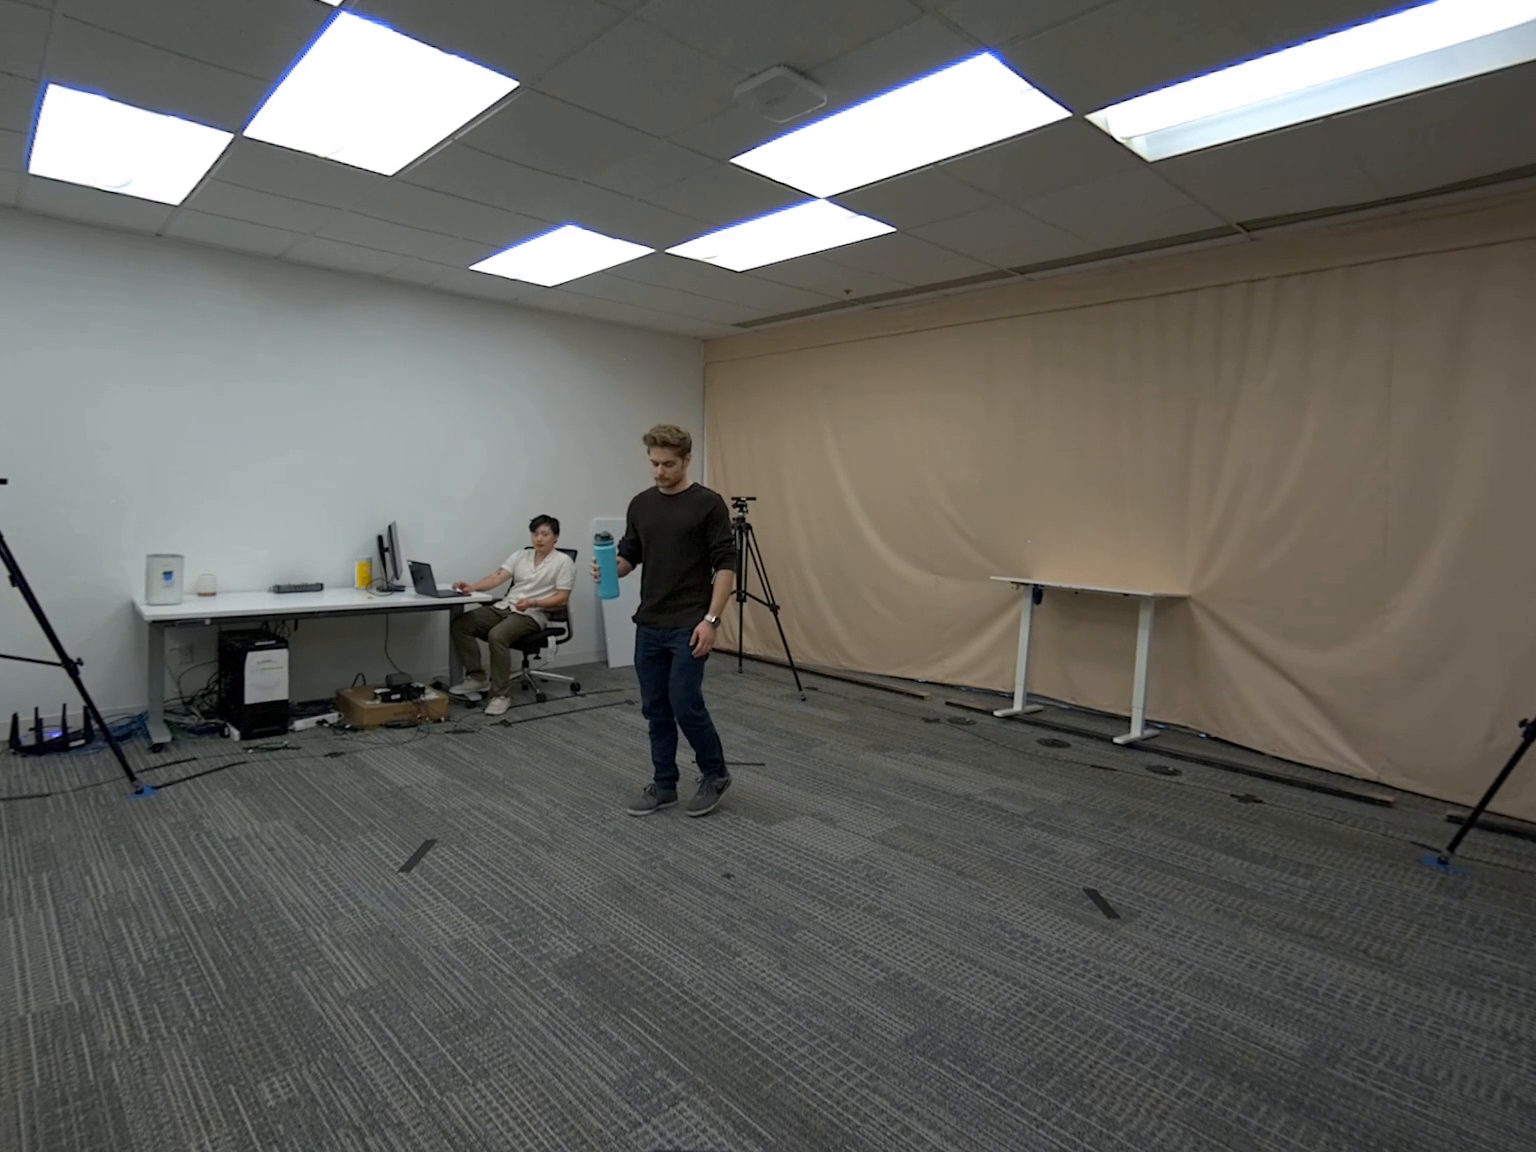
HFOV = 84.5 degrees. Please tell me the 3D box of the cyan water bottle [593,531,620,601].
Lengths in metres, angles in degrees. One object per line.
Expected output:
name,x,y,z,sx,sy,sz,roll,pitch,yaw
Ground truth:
cyan water bottle,-0.682,-0.048,3.492,0.092,0.281,0.093,-4,10,-1
